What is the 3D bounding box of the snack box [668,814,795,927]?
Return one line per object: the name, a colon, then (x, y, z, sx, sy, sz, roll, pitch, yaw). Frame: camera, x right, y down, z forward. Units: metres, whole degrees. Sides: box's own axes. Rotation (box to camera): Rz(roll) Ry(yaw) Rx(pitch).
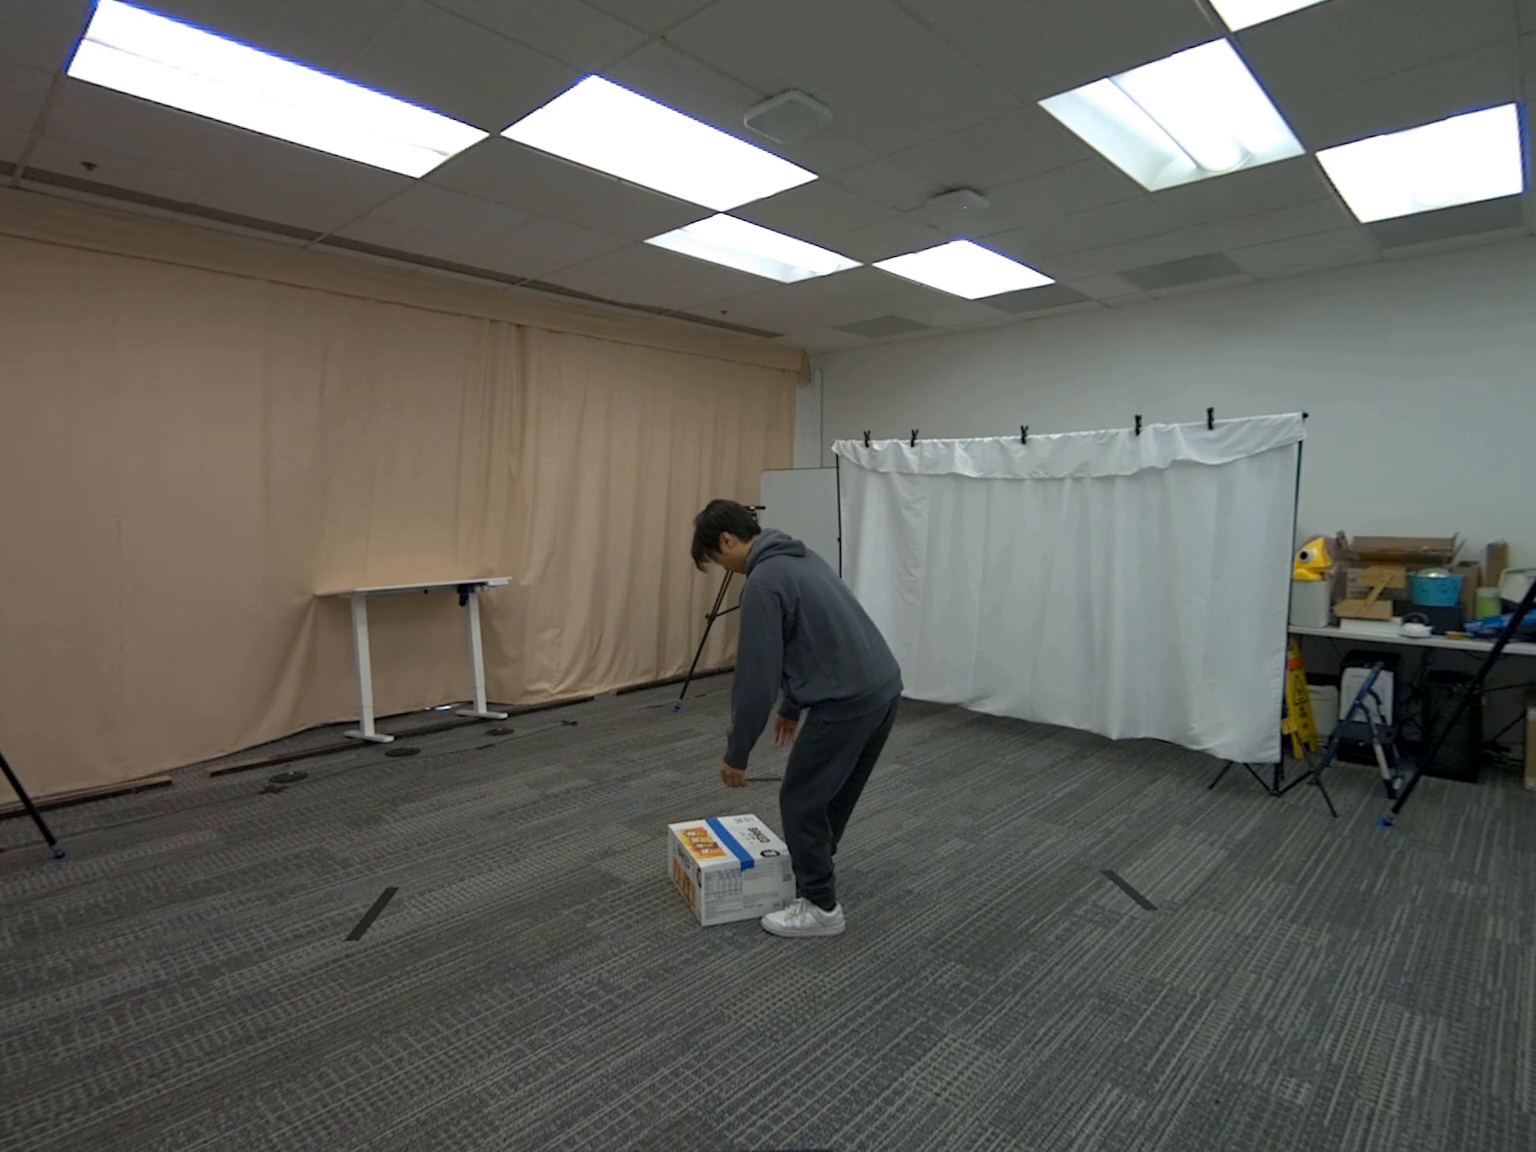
snack box: (-0.135, 1.040, 3.013, 0.333, 0.205, 0.414, -2, 4, -21)
